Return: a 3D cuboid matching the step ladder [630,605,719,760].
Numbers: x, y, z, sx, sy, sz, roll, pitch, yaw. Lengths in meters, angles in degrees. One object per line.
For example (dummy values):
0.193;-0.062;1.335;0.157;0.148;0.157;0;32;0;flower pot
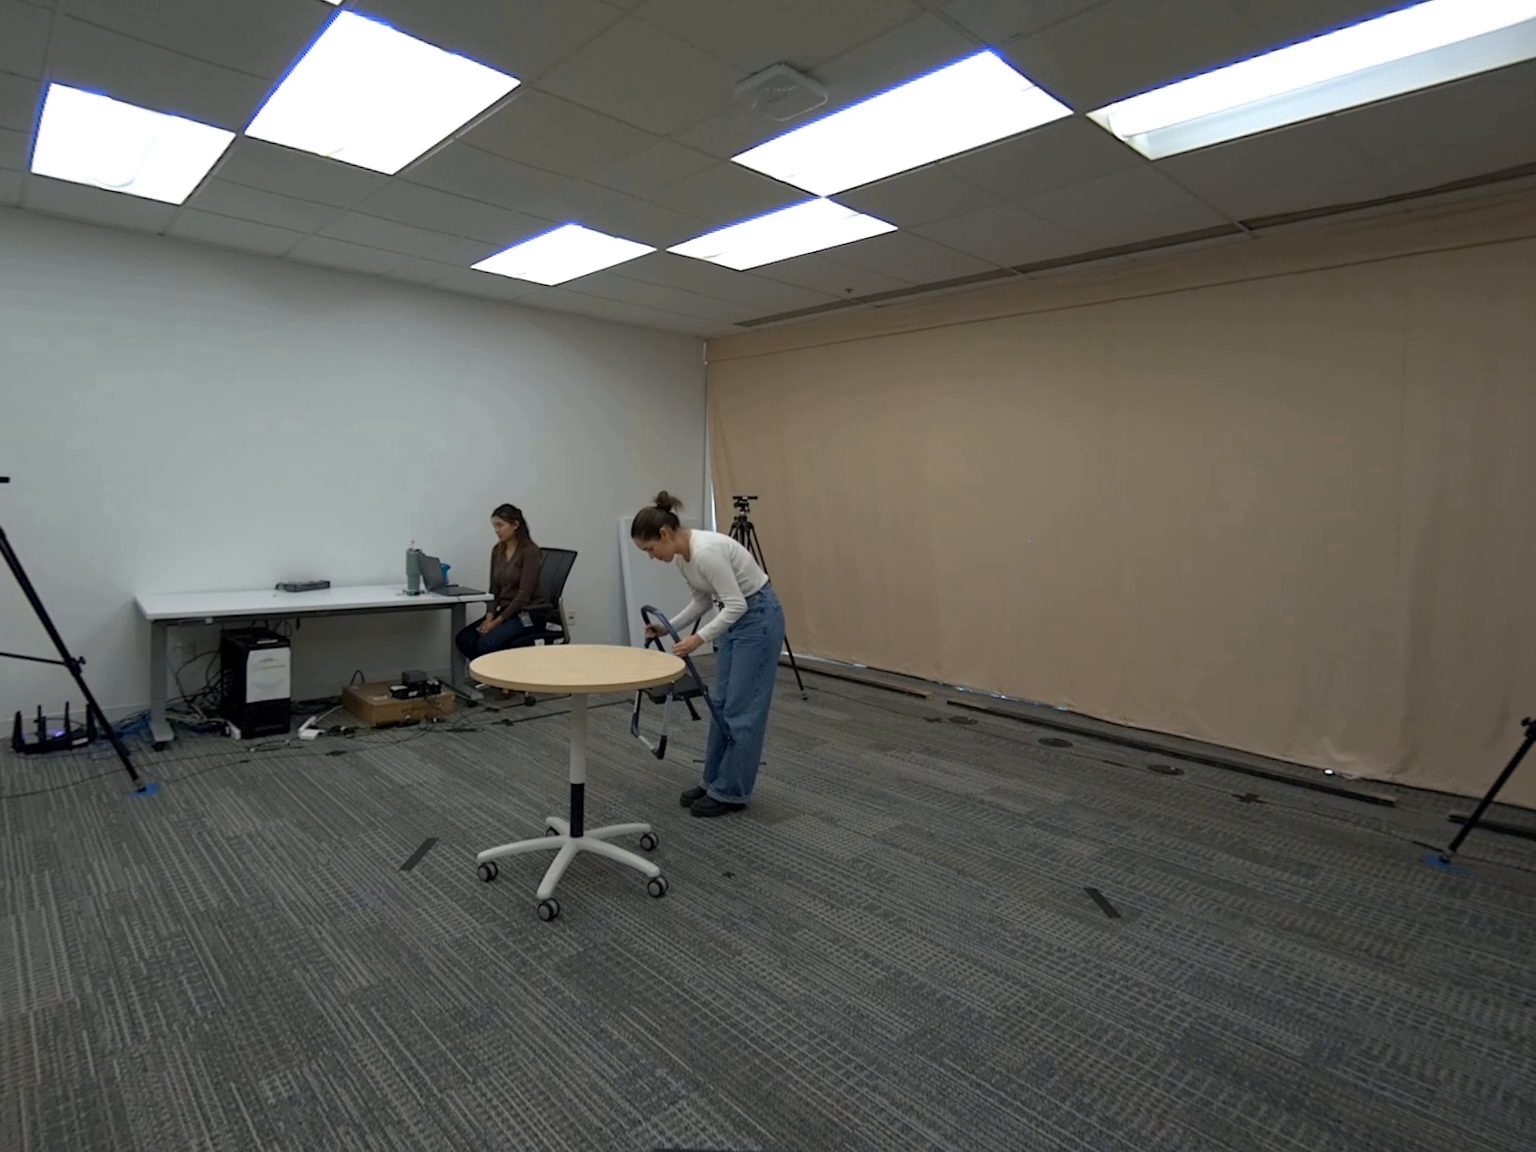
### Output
-0.421;0.425;3.721;0.344;0.603;0.439;-8;7;-25;step ladder
